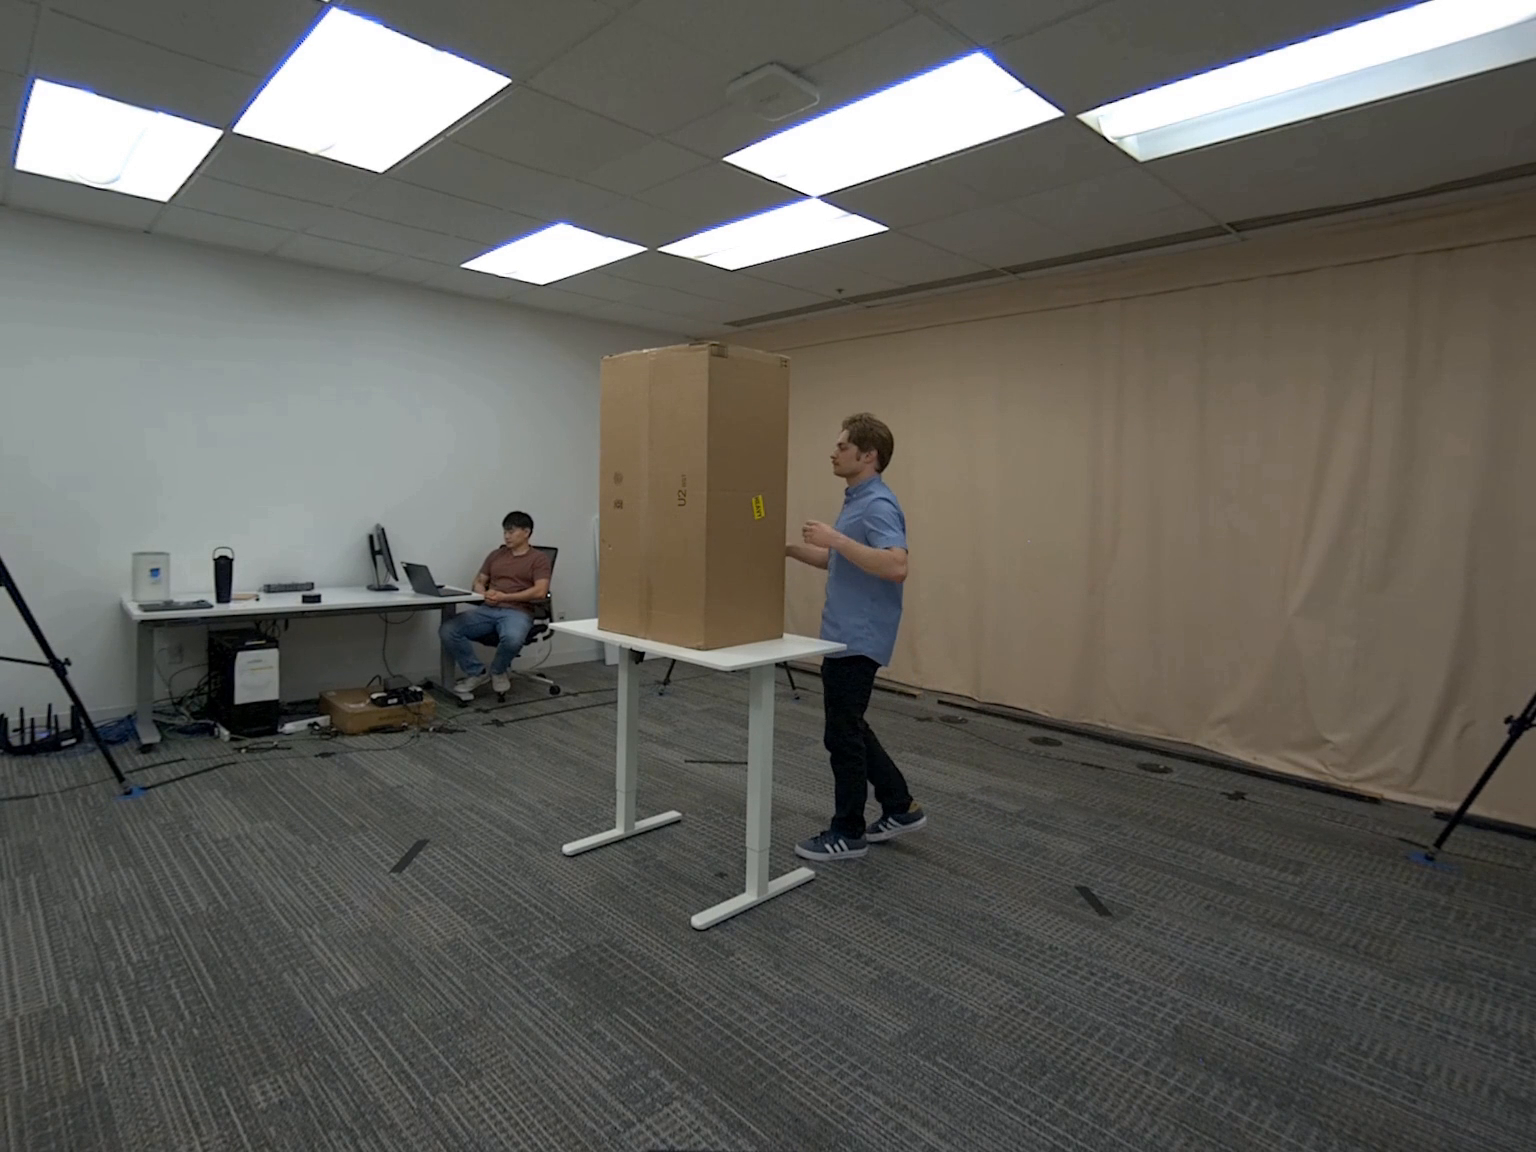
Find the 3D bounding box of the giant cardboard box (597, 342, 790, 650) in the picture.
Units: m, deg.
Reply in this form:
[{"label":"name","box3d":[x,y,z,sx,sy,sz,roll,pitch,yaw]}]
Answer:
[{"label":"giant cardboard box","box3d":[-0.284,-0.291,3.107,0.592,1.023,0.416,5,5,43]}]
